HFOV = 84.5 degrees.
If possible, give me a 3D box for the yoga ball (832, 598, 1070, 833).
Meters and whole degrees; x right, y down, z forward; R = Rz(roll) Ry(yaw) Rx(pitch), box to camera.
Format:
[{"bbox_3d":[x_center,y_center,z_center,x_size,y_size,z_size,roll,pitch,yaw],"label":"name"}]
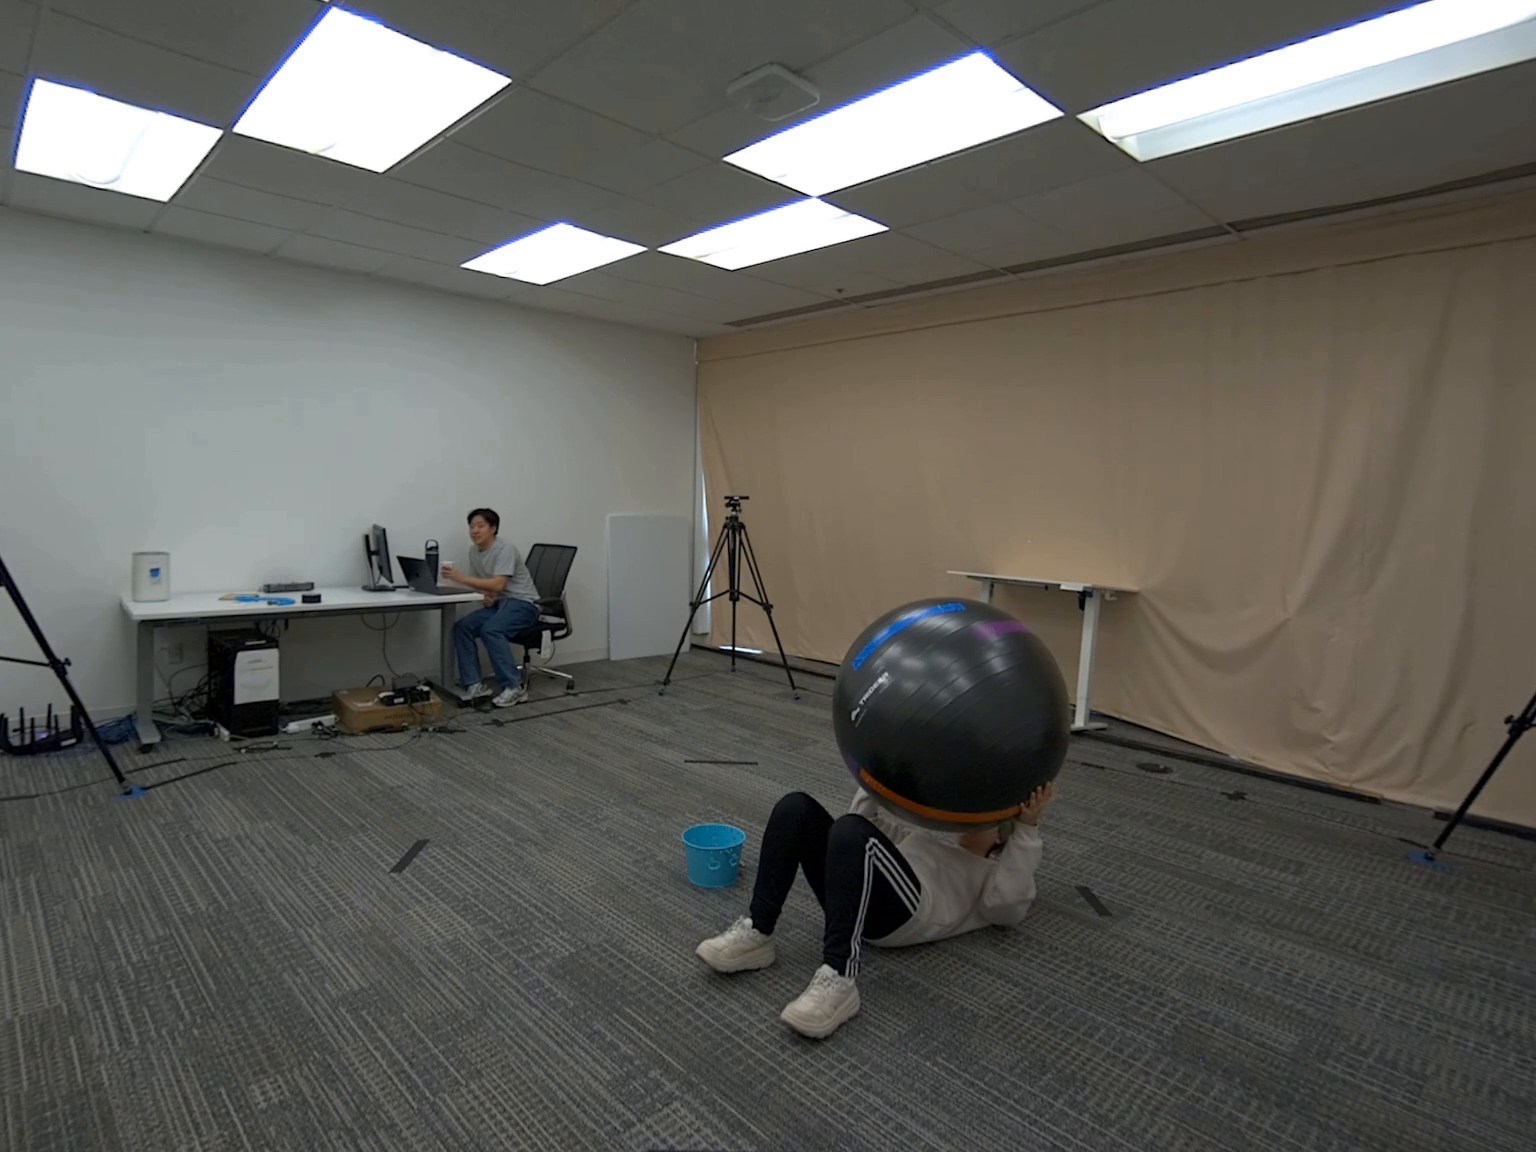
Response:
[{"bbox_3d":[0.593,0.447,2.778,0.757,0.756,0.761,1,4,-1],"label":"yoga ball"}]
